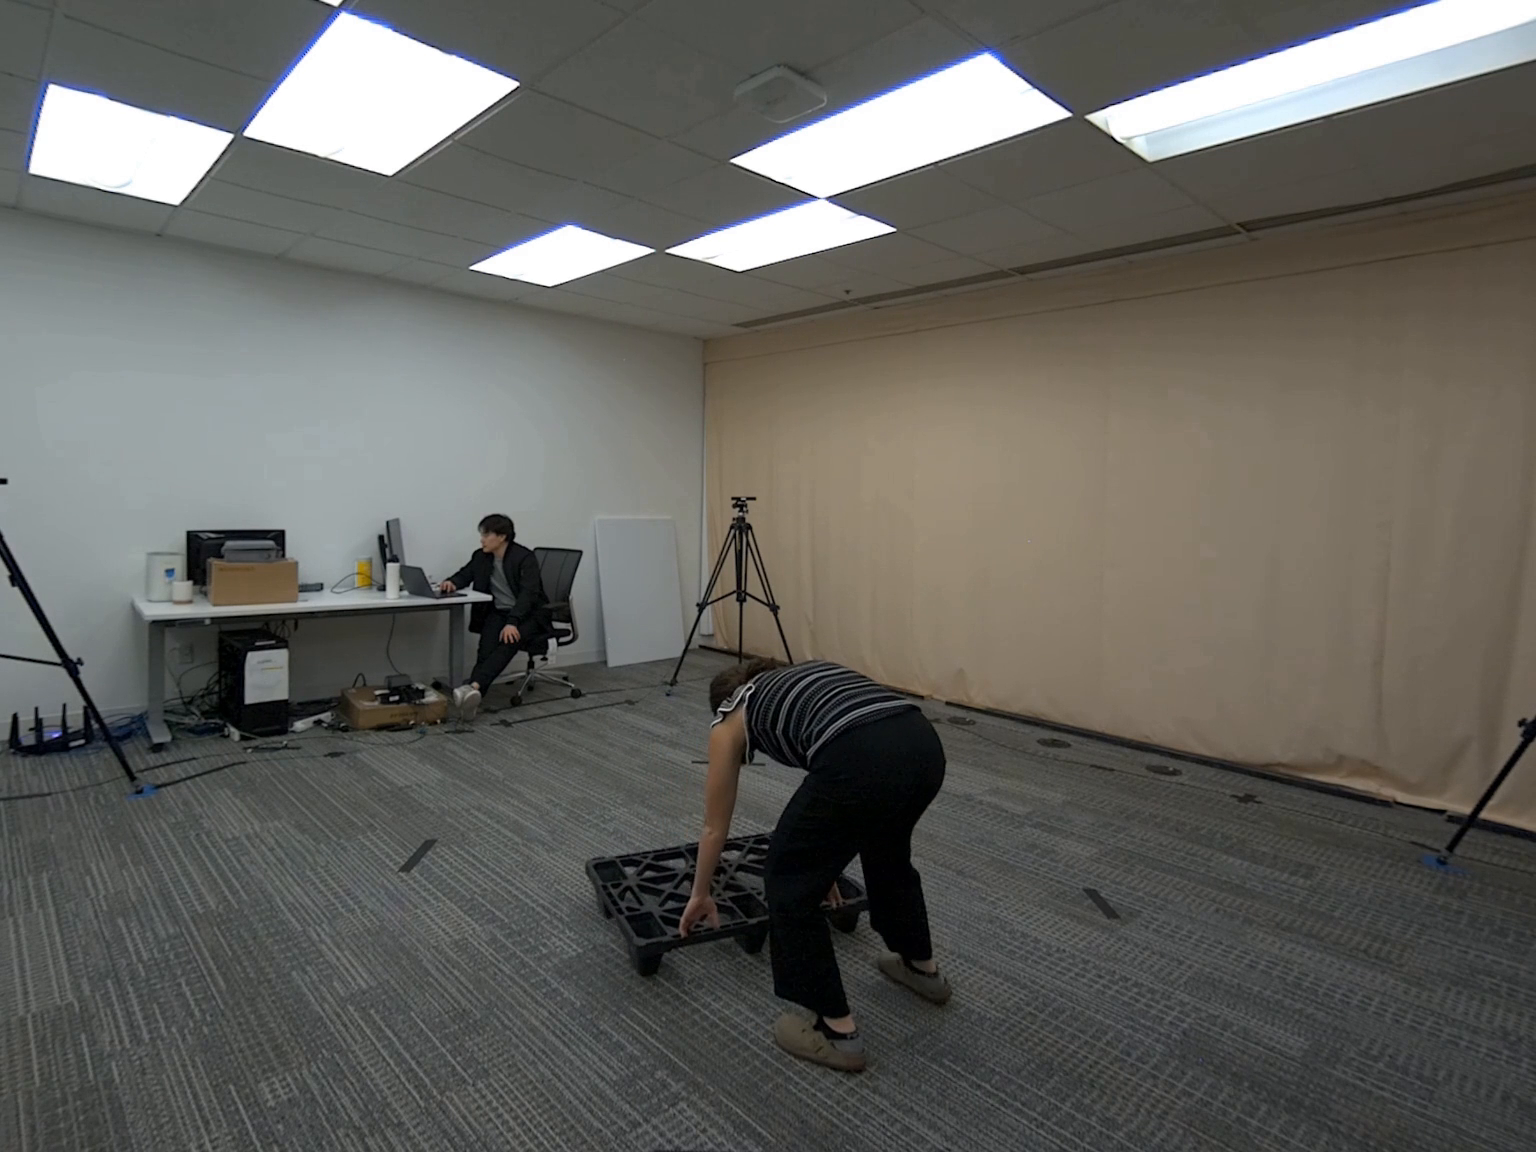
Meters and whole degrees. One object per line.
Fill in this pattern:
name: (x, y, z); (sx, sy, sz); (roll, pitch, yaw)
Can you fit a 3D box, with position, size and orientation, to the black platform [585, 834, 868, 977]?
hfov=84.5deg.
black platform: (-0.156, 1.068, 2.790); (0.791, 0.143, 0.618); (-1, 5, -25)
